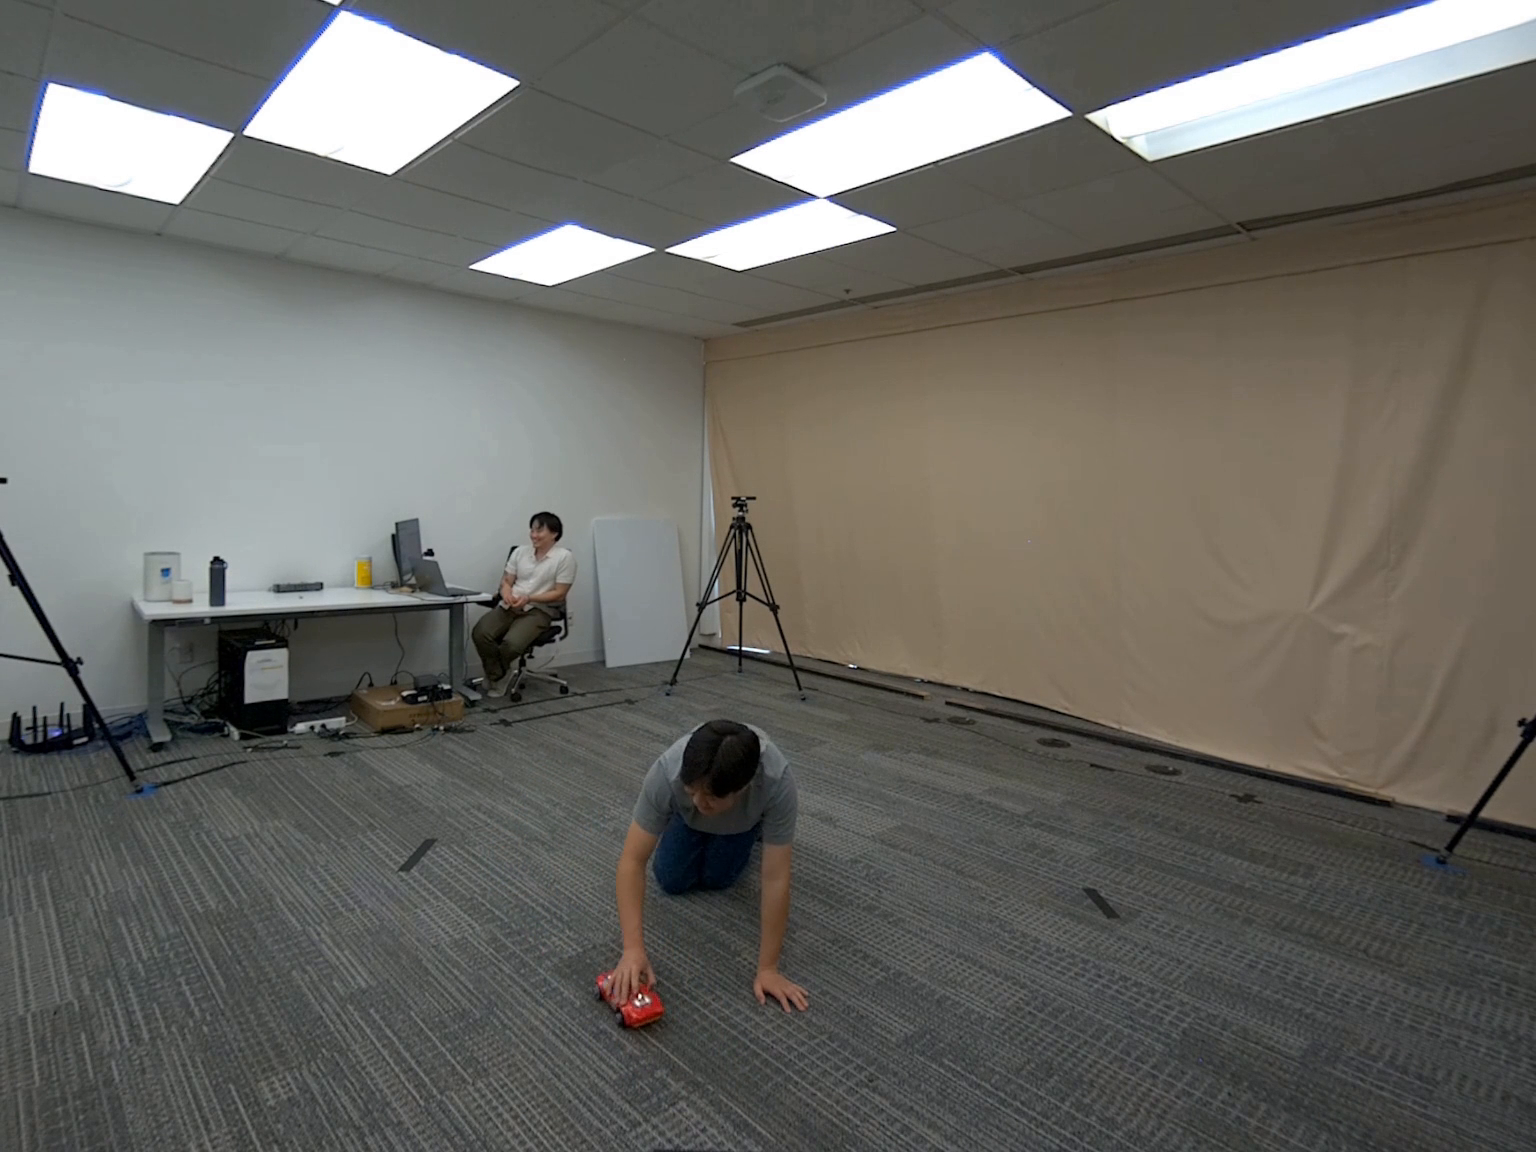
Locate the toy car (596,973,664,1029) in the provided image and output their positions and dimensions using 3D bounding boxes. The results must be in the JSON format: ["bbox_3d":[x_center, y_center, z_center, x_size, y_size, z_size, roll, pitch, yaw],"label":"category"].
[{"bbox_3d":[-0.385,1.148,2.273,0.127,0.083,0.259,-3,-5,-34],"label":"toy car"}]
